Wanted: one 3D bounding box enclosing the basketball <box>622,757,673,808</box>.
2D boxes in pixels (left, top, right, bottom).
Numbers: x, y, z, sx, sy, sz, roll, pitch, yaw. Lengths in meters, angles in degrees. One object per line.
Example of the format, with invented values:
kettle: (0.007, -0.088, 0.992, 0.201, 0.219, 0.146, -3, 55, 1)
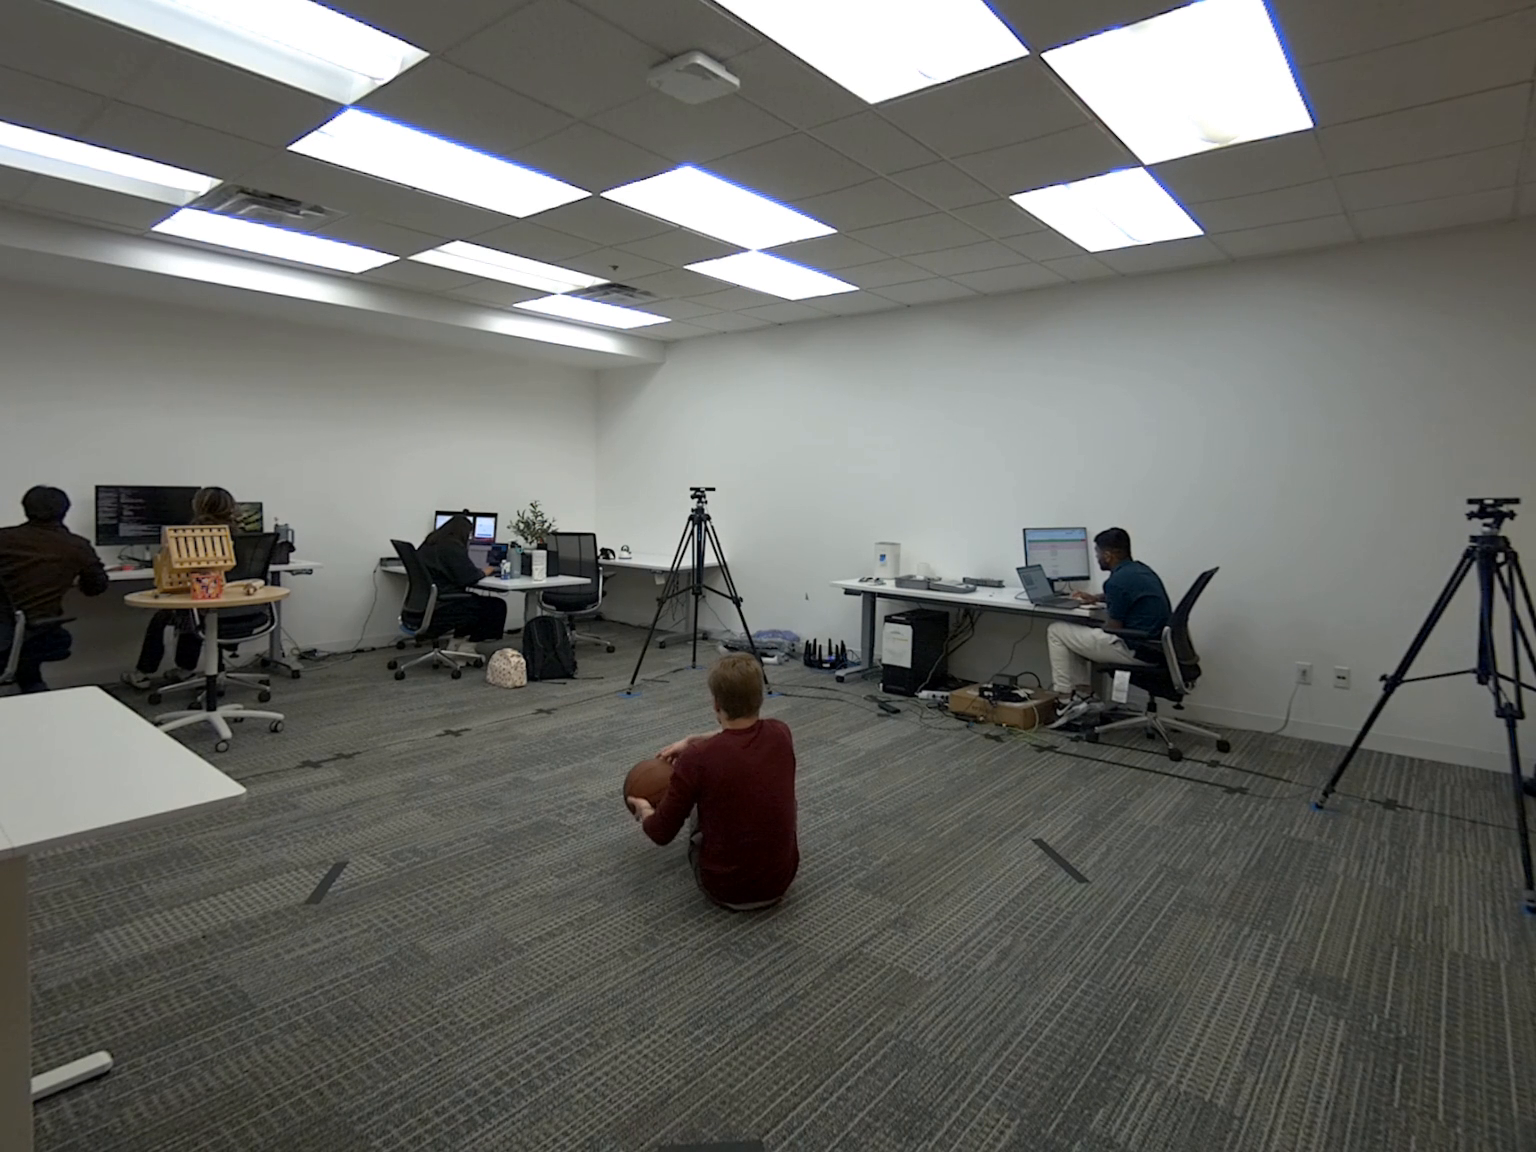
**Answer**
basketball: (-0.428, 0.813, 3.277, 0.235, 0.235, 0.237, 1, 4, -2)
